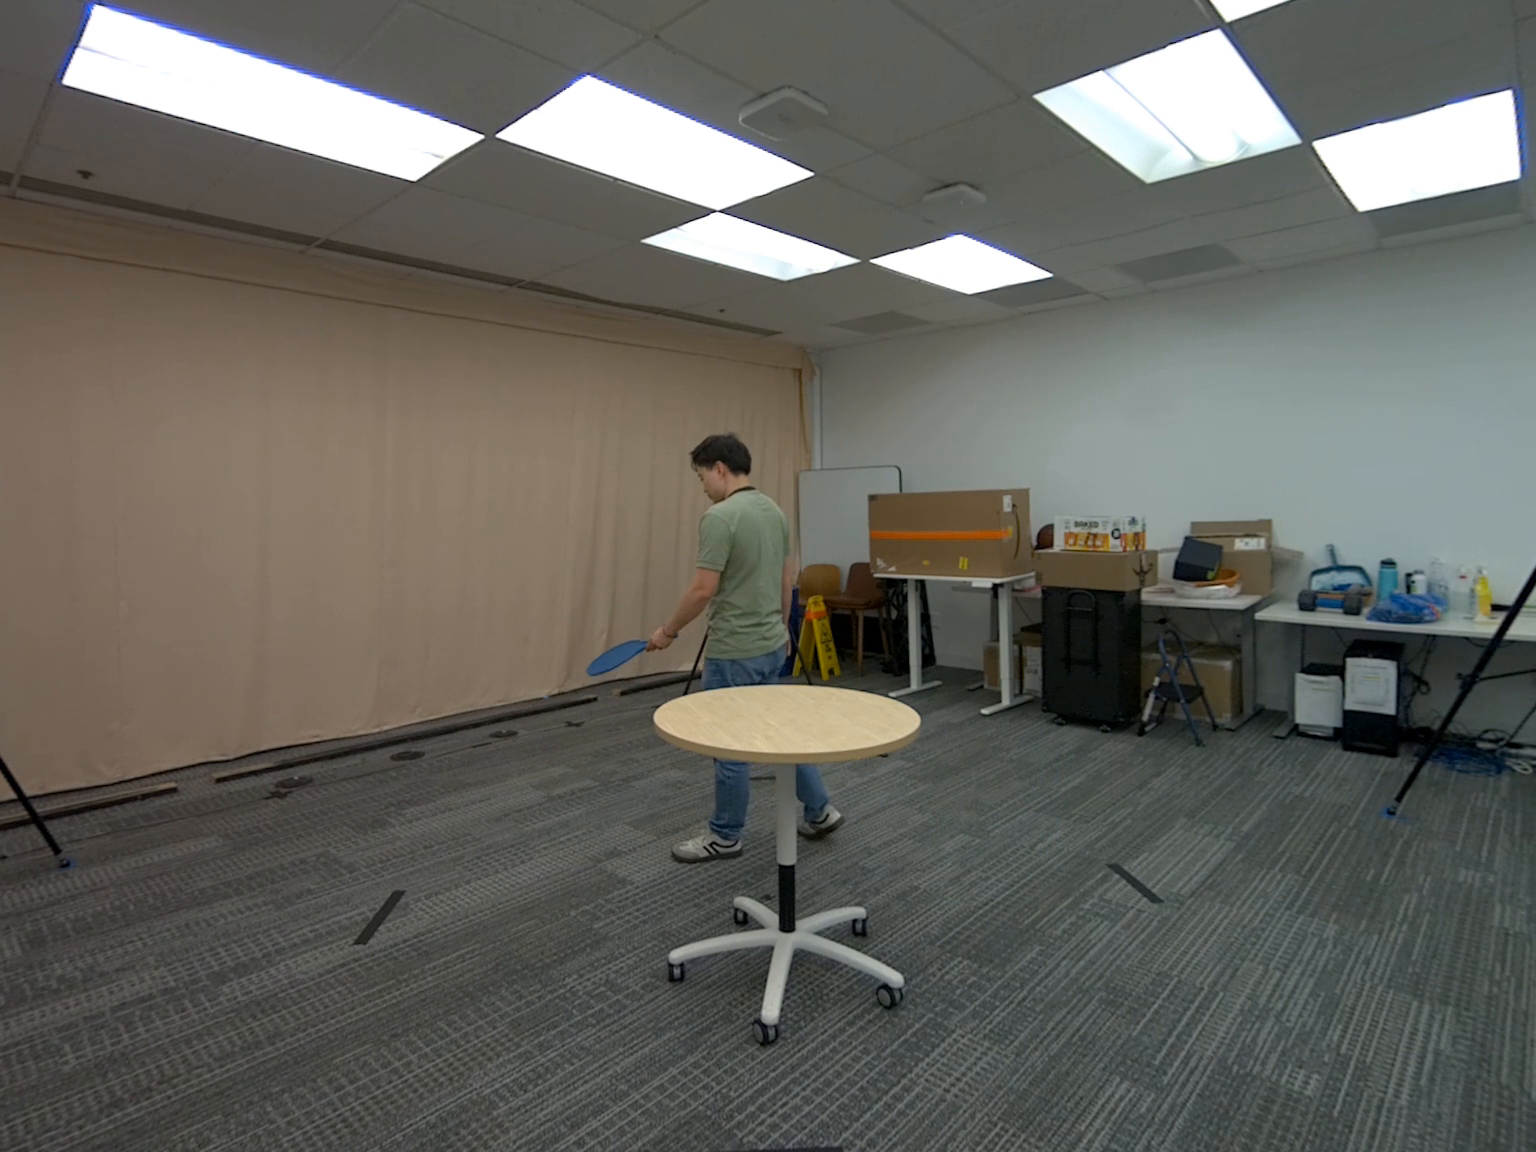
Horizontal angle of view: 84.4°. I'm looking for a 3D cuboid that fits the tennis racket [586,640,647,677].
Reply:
[{"bbox_3d":[-0.544,0.301,3.372,0.441,0.031,0.213,-21,20,27],"label":"tennis racket"}]
